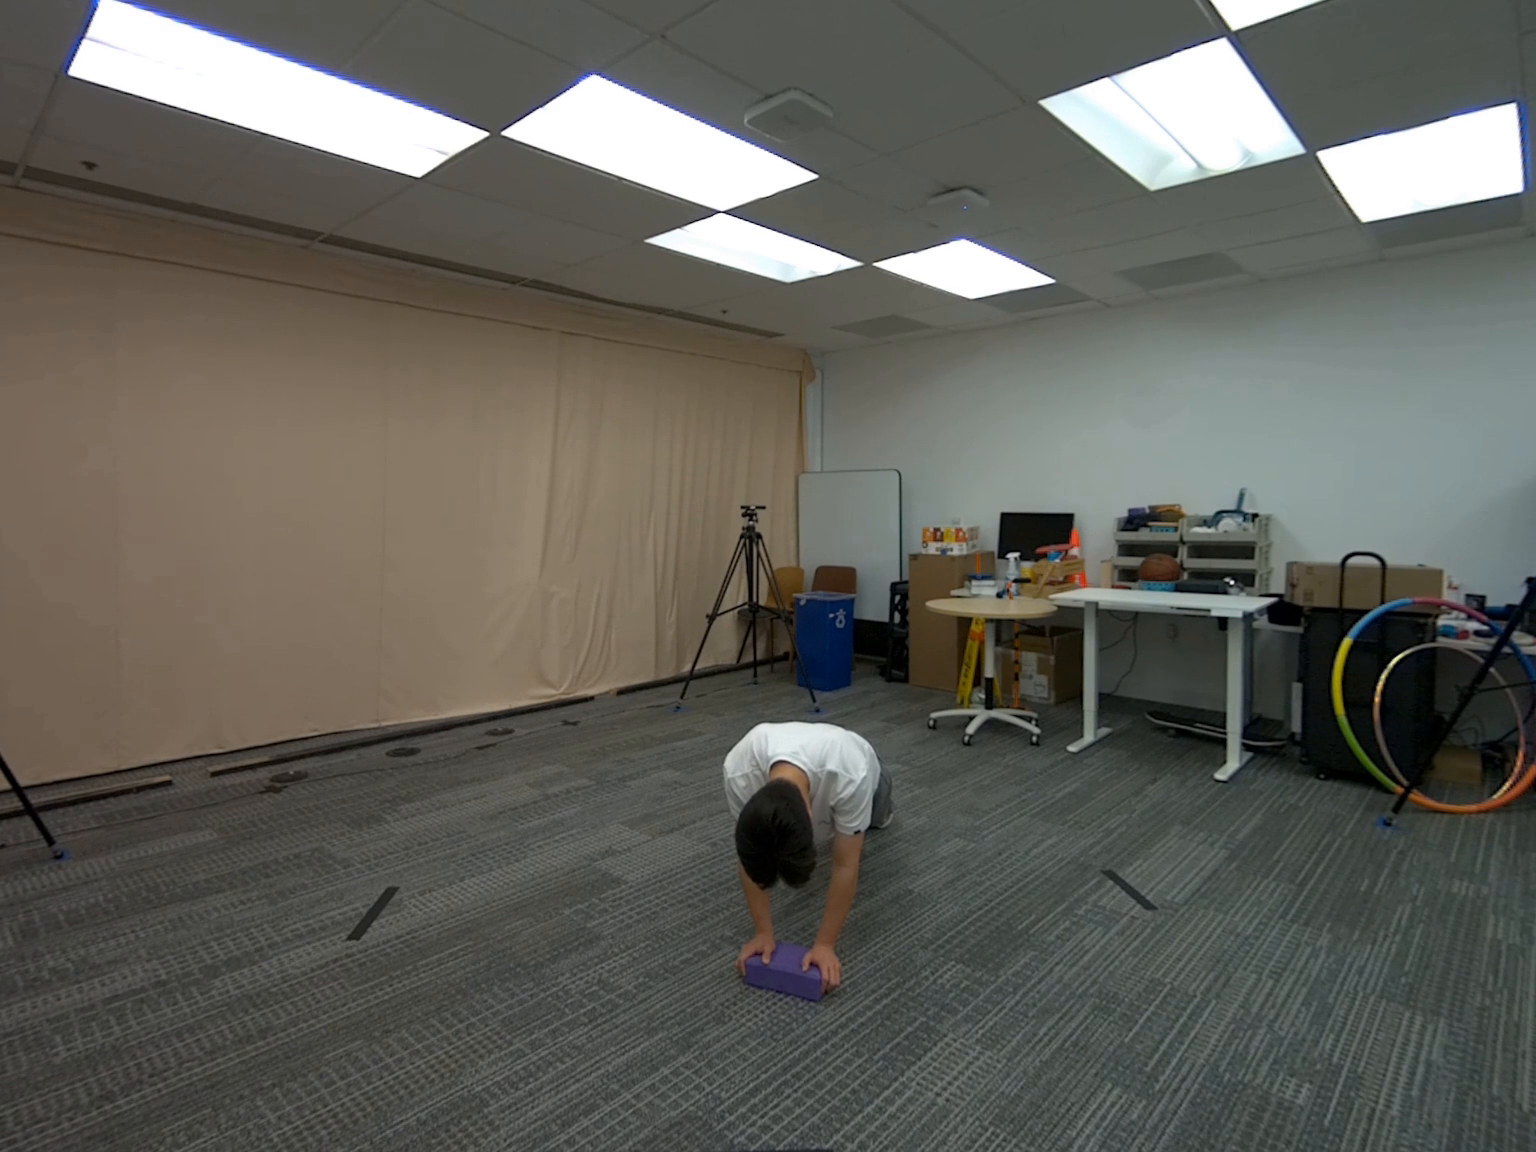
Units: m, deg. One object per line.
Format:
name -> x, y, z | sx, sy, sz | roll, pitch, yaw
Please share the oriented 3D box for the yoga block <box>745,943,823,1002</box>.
yoga block -> 0.075, 1.151, 2.464 | 0.235, 0.076, 0.146 | 3, 6, 23
